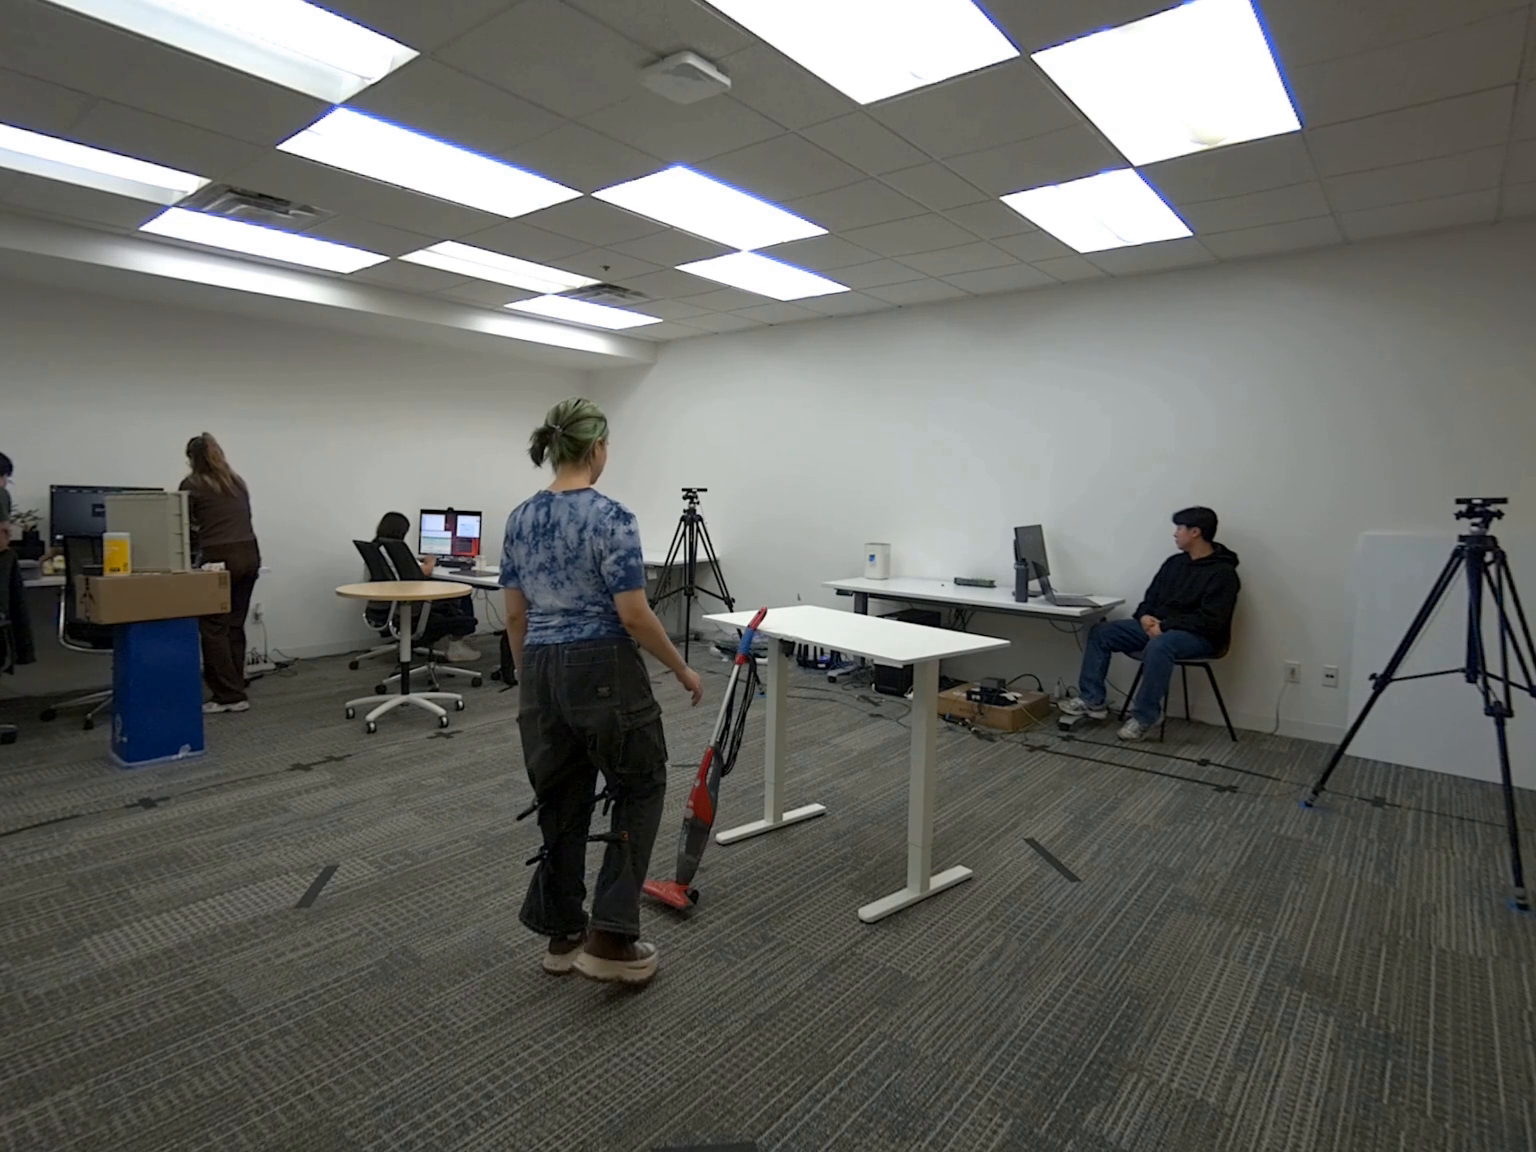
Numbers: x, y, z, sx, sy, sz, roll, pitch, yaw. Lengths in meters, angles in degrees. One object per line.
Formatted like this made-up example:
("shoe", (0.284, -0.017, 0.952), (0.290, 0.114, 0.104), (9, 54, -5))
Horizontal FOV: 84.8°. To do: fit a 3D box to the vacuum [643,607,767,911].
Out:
("vacuum", (-0.178, 0.602, 3.001), (0.261, 1.059, 0.138), (3, -23, 39))
